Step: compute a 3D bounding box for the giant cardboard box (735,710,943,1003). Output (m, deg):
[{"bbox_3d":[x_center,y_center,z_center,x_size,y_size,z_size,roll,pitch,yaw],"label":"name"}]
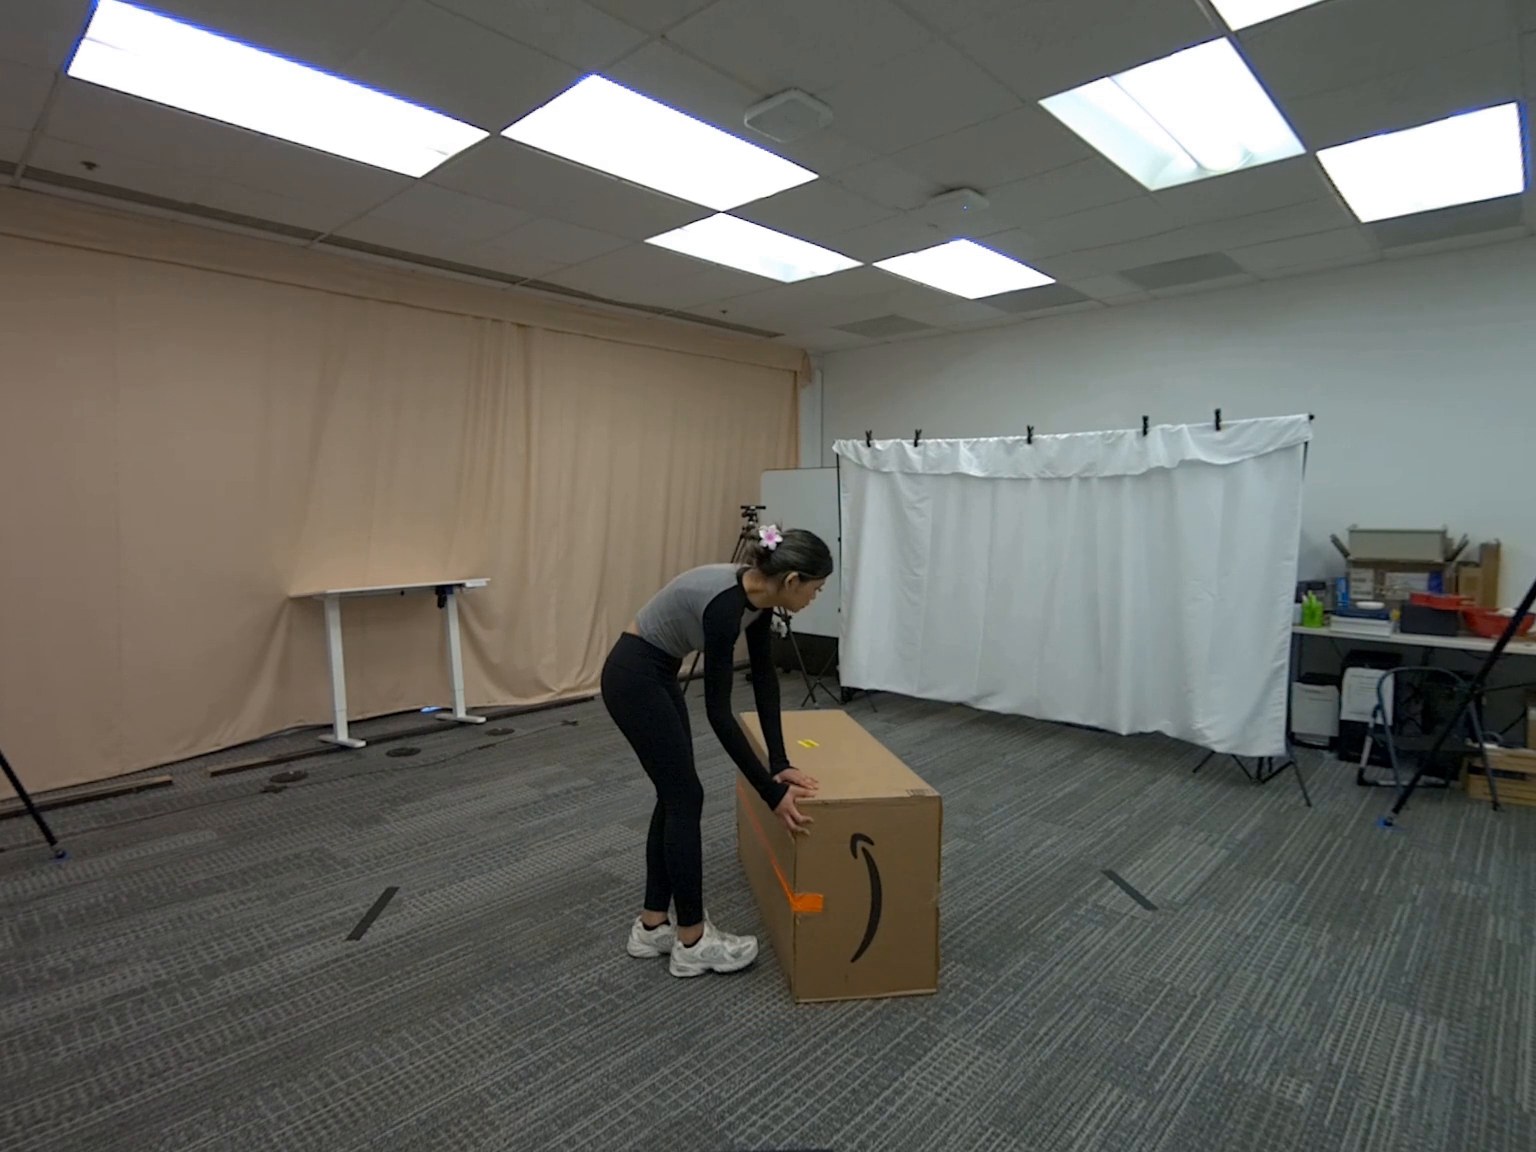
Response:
[{"bbox_3d":[0.190,0.864,2.868,0.442,0.582,1.040,-2,4,-11],"label":"giant cardboard box"}]
